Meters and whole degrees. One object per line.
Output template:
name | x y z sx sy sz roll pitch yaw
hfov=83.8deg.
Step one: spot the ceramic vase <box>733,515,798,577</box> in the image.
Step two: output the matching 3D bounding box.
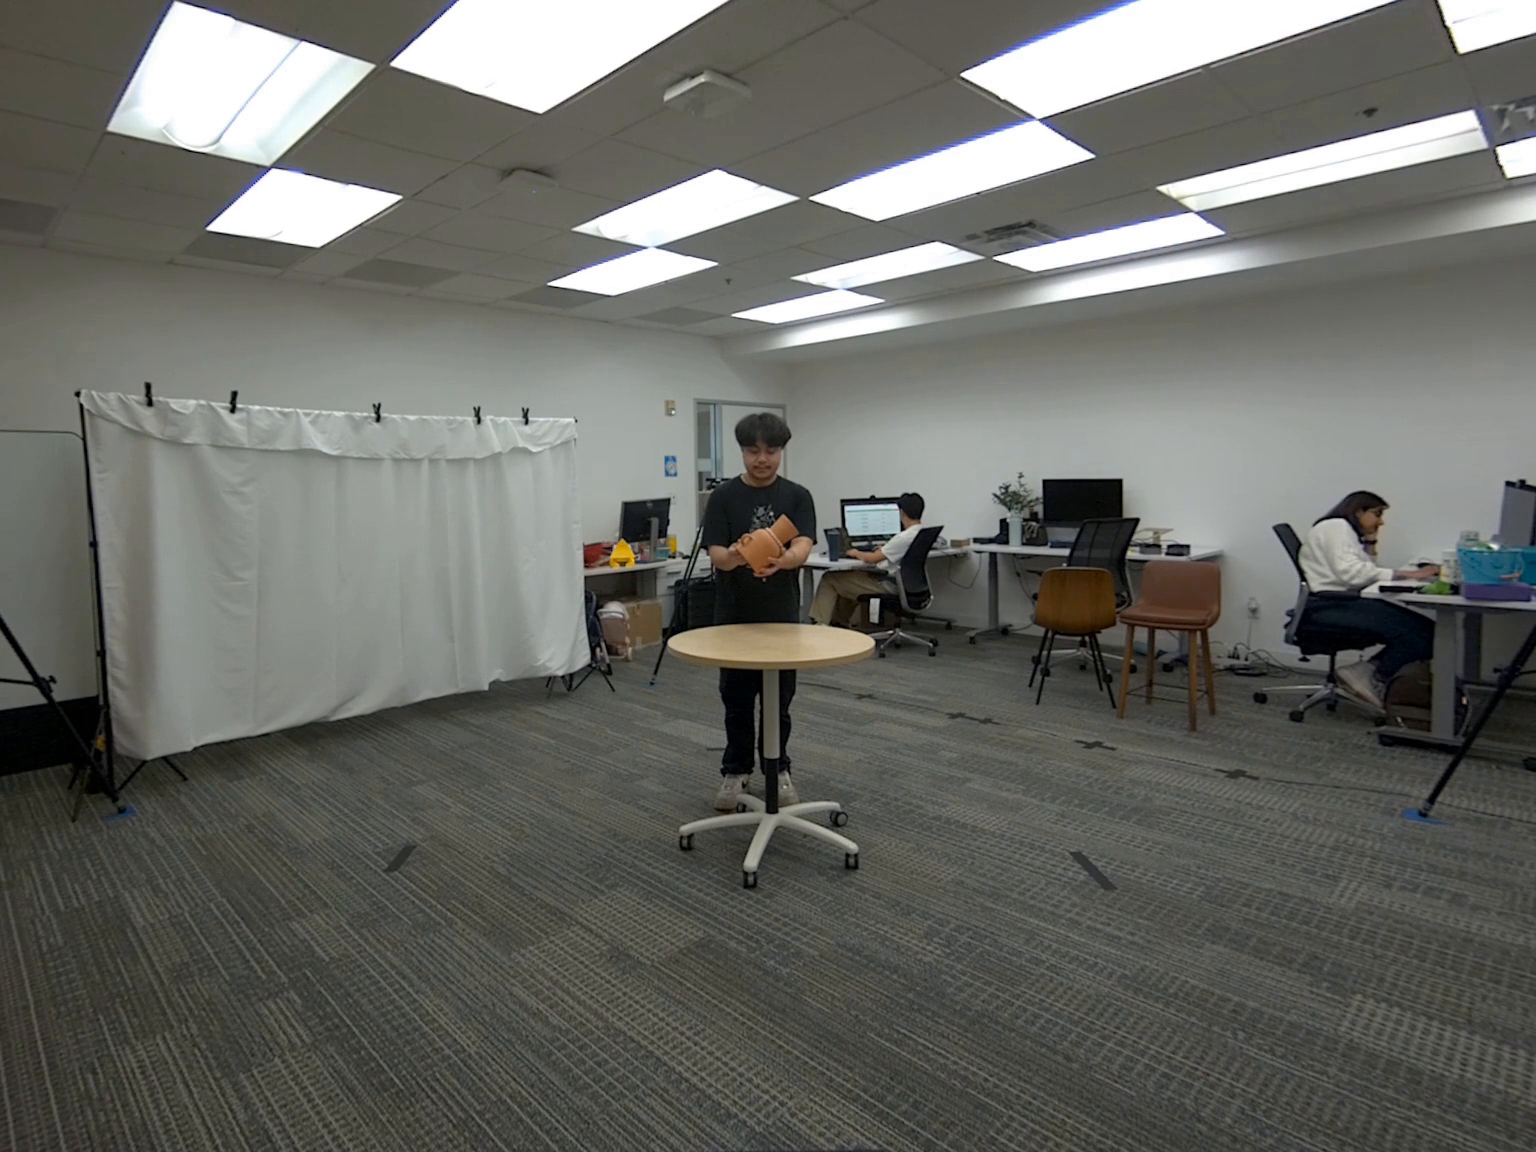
ceramic vase | -0.002 -0.128 3.236 0.219 0.136 0.157 -38 -6 -2
